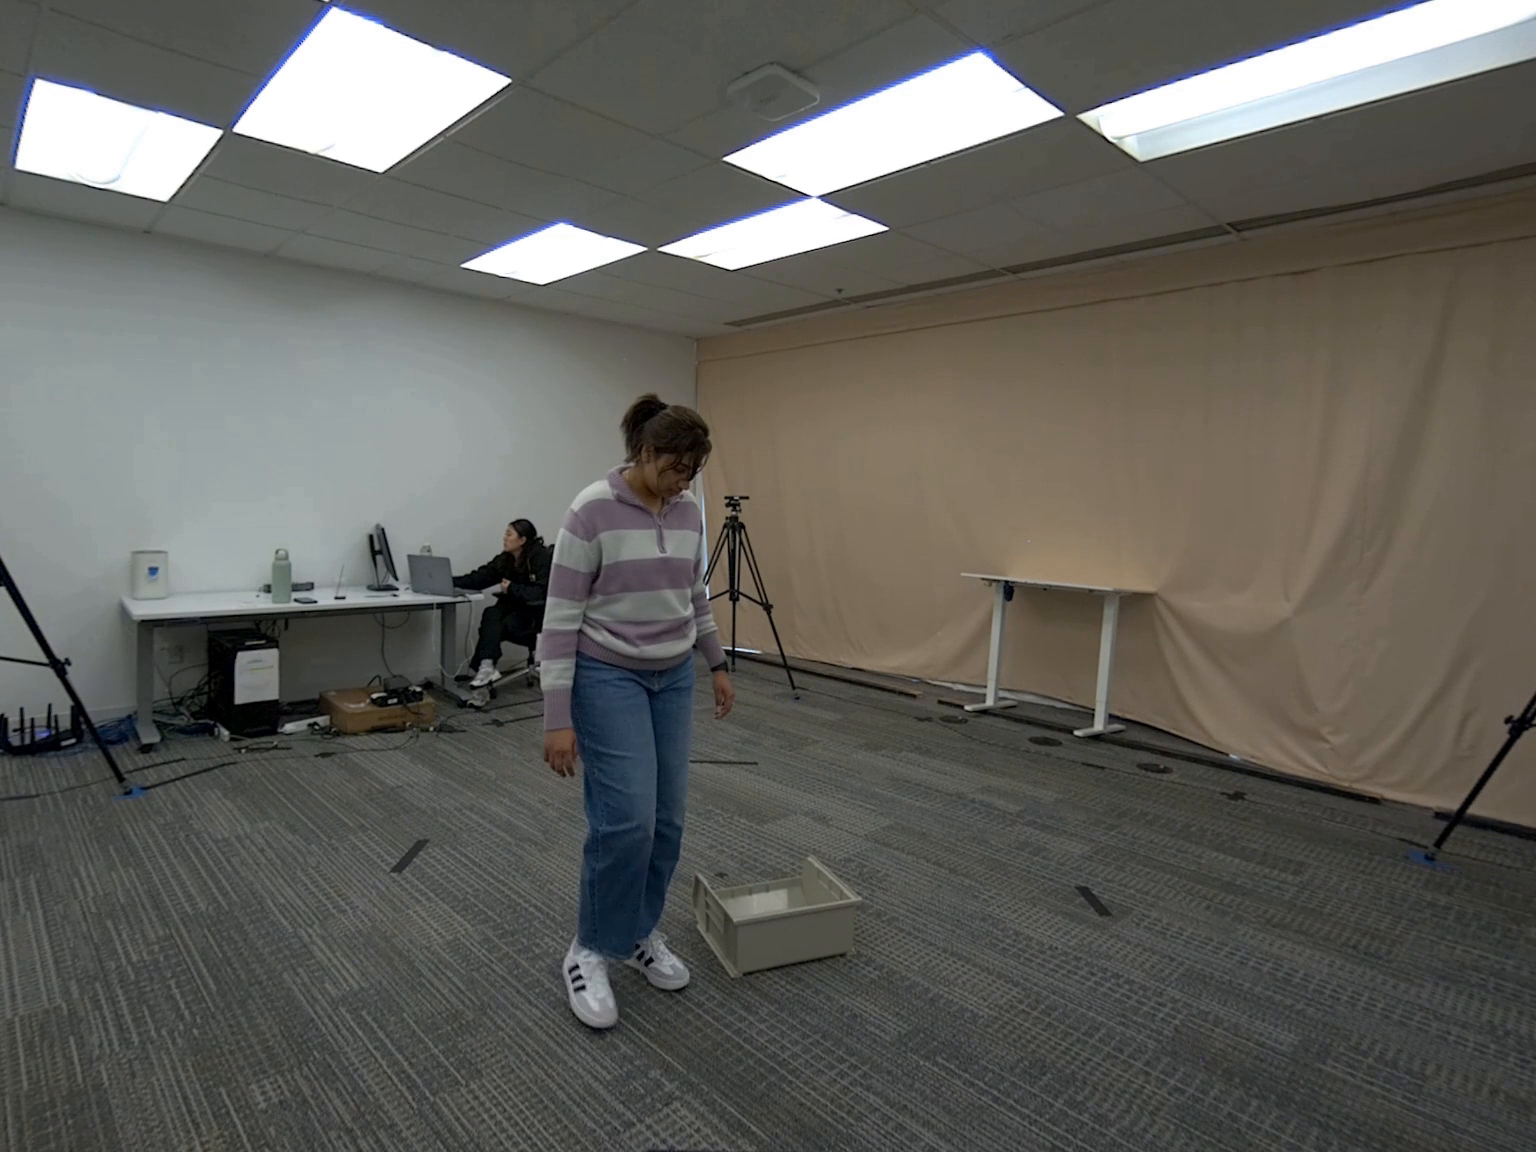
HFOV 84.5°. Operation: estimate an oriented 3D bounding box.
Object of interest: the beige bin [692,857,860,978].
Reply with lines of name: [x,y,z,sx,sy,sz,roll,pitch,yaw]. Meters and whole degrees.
beige bin: [0.012,1.060,2.662,0.415,0.188,0.385,0,6,-23]
